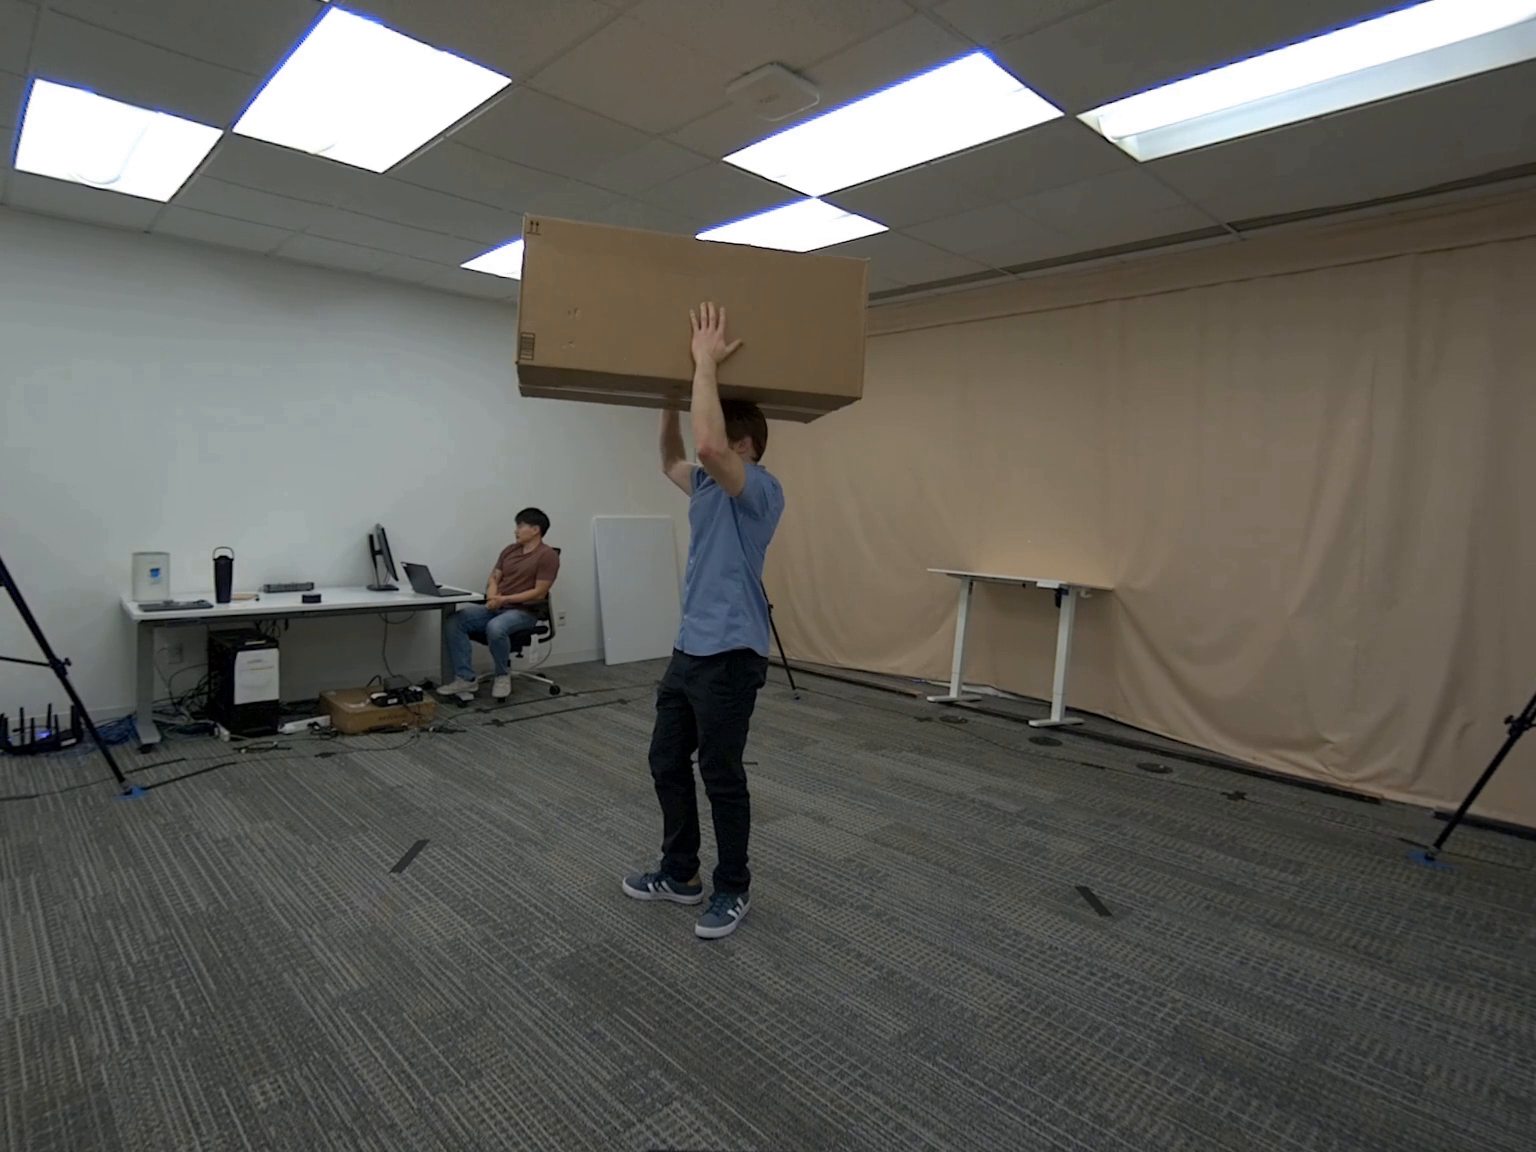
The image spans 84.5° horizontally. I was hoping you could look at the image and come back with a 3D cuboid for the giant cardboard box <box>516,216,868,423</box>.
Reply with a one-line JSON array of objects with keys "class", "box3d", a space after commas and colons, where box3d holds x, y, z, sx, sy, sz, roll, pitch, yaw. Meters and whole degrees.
[{"class": "giant cardboard box", "box3d": [-0.270, -0.782, 2.704, 1.015, 0.426, 0.584, 3, 1, -13]}]
